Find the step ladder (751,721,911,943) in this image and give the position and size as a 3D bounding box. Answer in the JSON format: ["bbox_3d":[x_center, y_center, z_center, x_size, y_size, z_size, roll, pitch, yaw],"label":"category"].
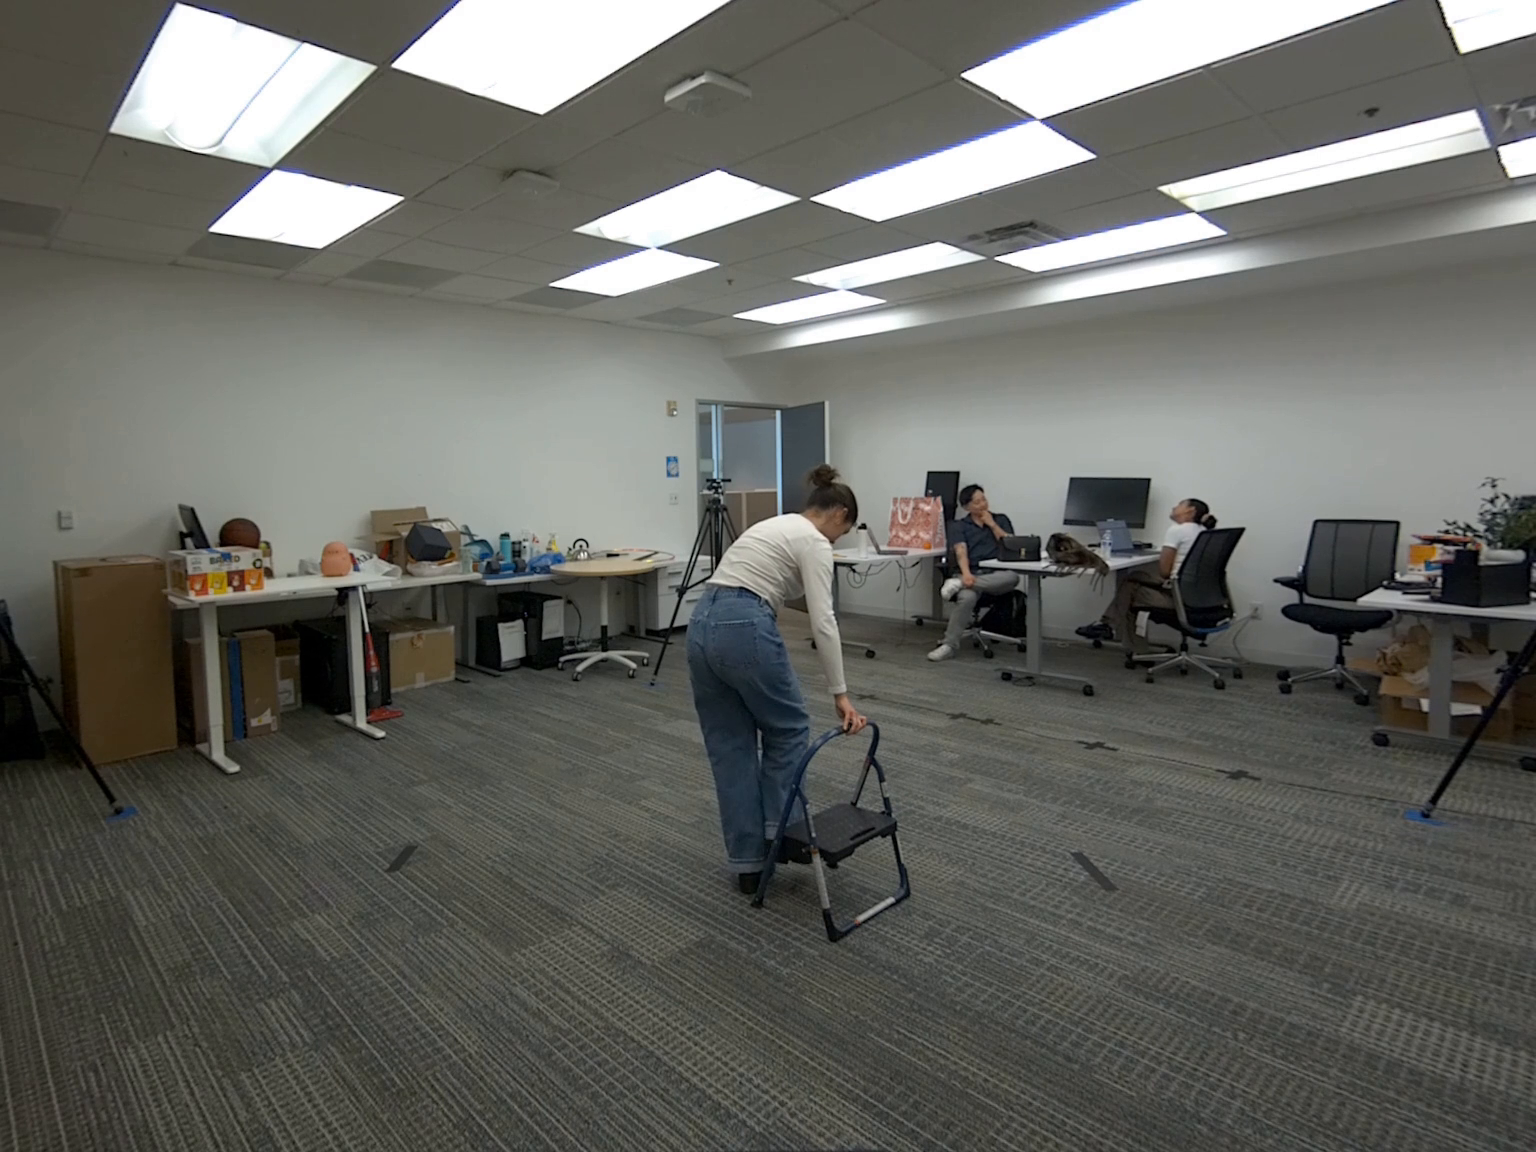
[{"bbox_3d":[0.209,0.771,2.804,0.360,0.604,0.419,2,5,44],"label":"step ladder"}]
